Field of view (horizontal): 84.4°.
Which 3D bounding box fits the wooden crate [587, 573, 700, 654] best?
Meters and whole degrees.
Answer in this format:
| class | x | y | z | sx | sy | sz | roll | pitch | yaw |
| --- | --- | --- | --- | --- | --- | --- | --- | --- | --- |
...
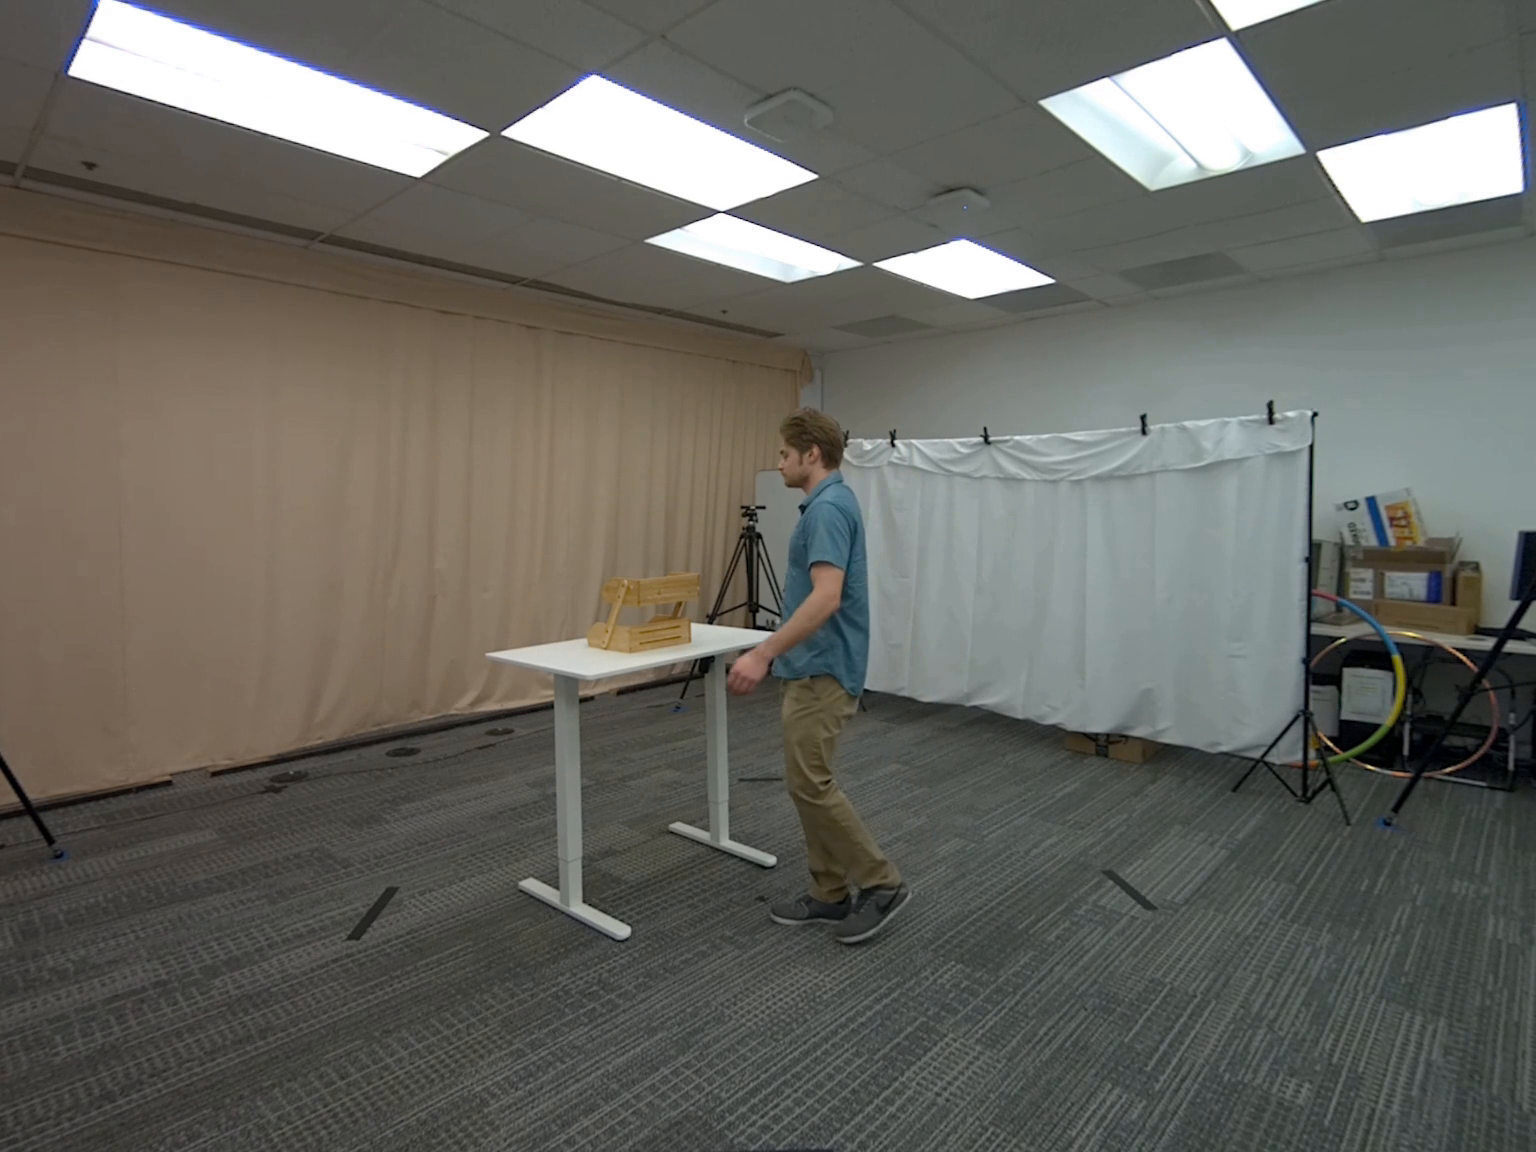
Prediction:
| class | x | y | z | sx | sy | sz | roll | pitch | yaw |
| --- | --- | --- | --- | --- | --- | --- | --- | --- | --- |
| wooden crate | -0.466 | 0.123 | 3.103 | 0.312 | 0.272 | 0.314 | 4 | 6 | 43 |
